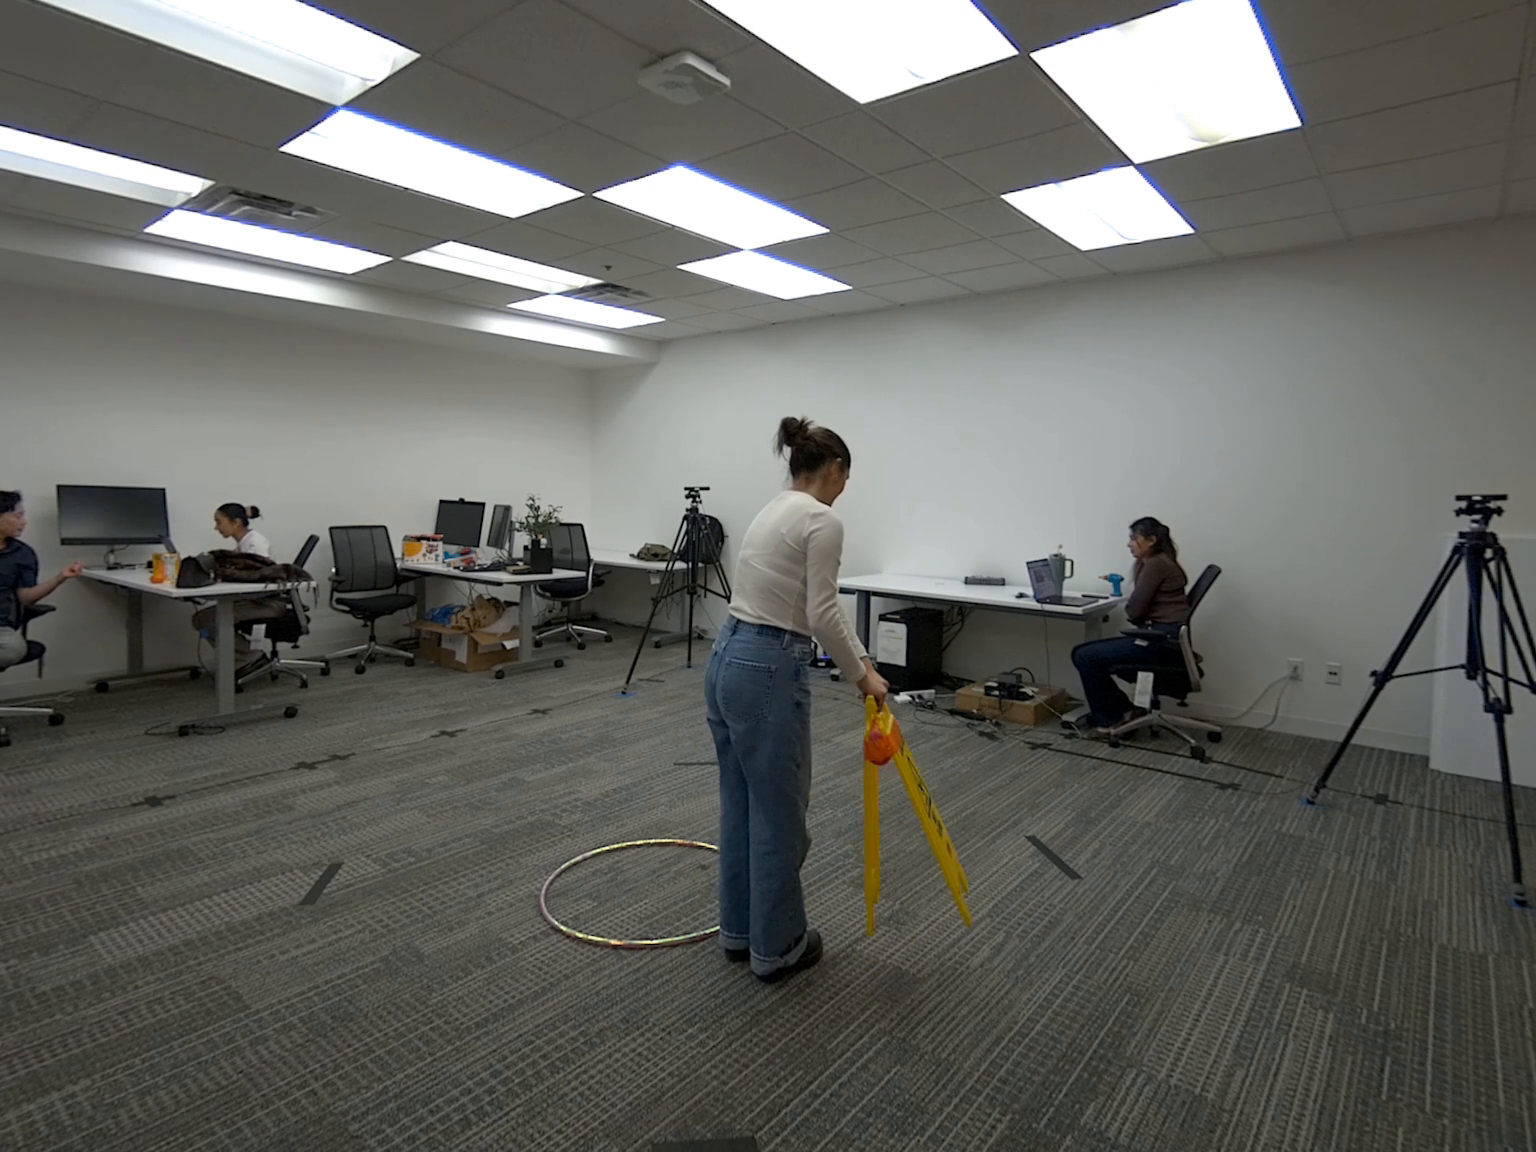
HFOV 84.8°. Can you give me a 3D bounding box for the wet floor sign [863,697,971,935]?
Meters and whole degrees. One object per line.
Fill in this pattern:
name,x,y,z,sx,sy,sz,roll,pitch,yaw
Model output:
wet floor sign,0.356,0.642,2.426,0.293,0.645,0.280,-12,2,13
